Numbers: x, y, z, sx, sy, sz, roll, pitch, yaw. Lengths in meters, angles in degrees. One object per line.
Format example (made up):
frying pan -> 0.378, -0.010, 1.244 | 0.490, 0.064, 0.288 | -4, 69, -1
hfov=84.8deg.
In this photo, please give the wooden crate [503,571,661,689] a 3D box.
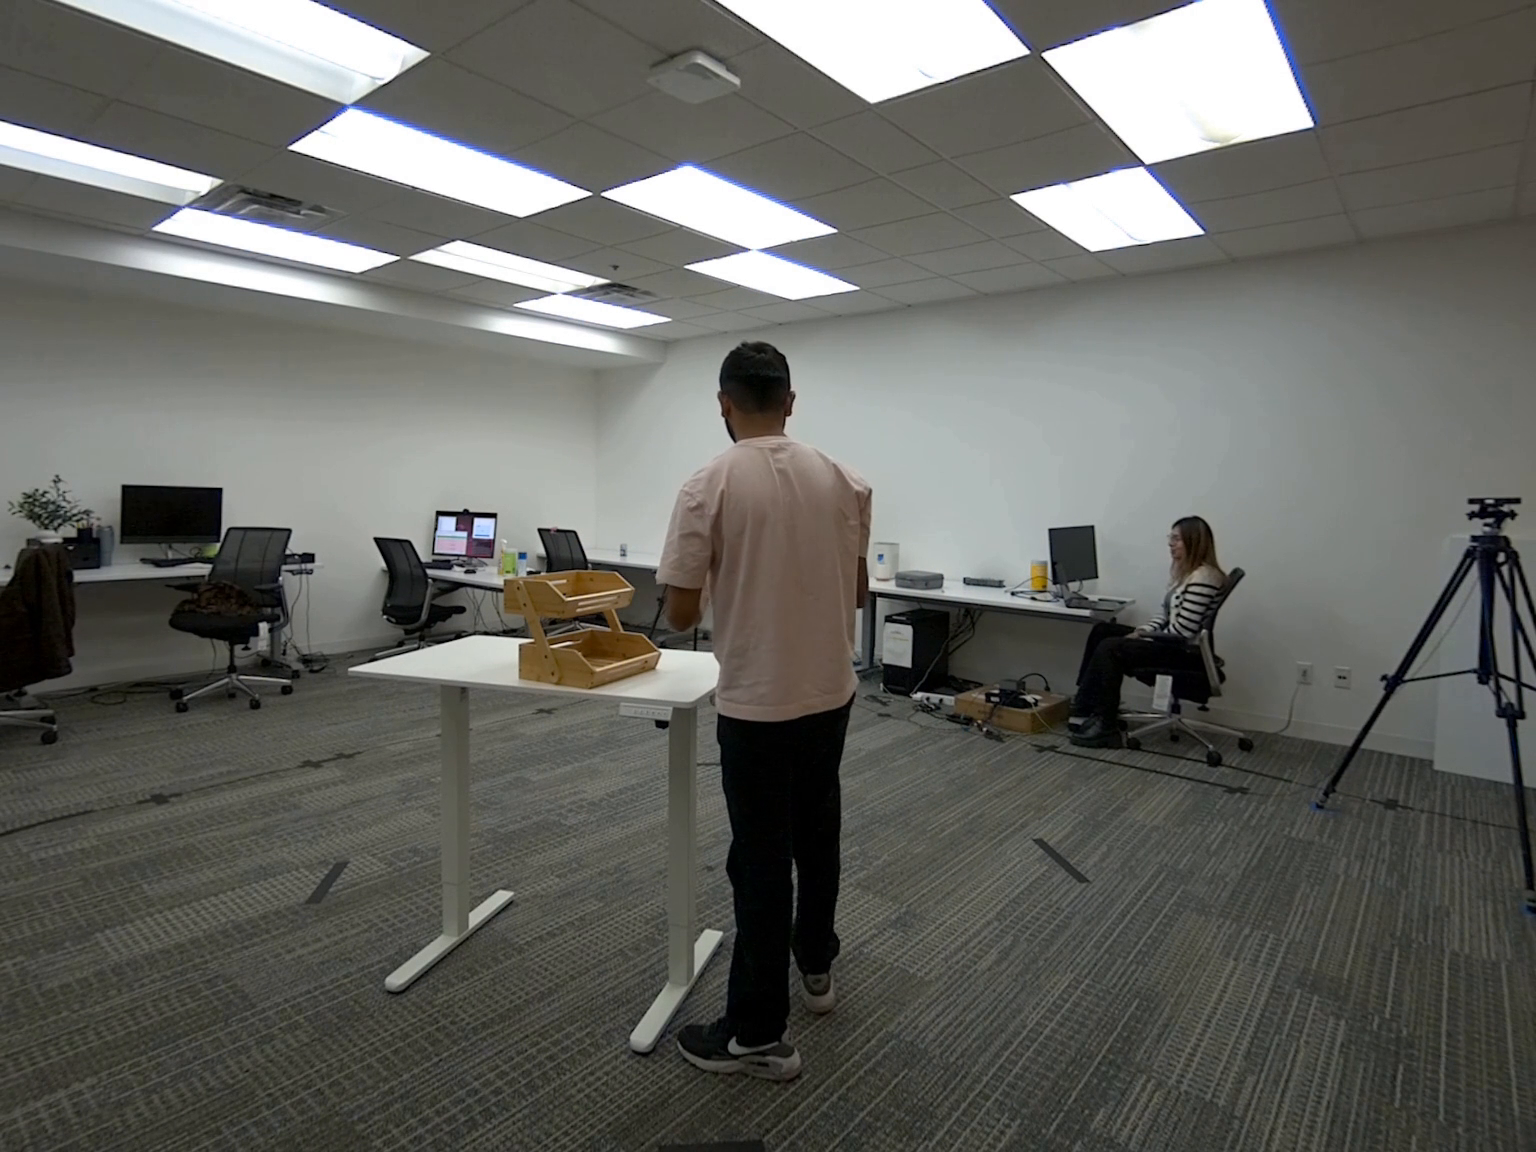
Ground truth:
wooden crate -> -0.499, 0.129, 2.294 | 0.310, 0.272, 0.316 | 2, 4, 28
